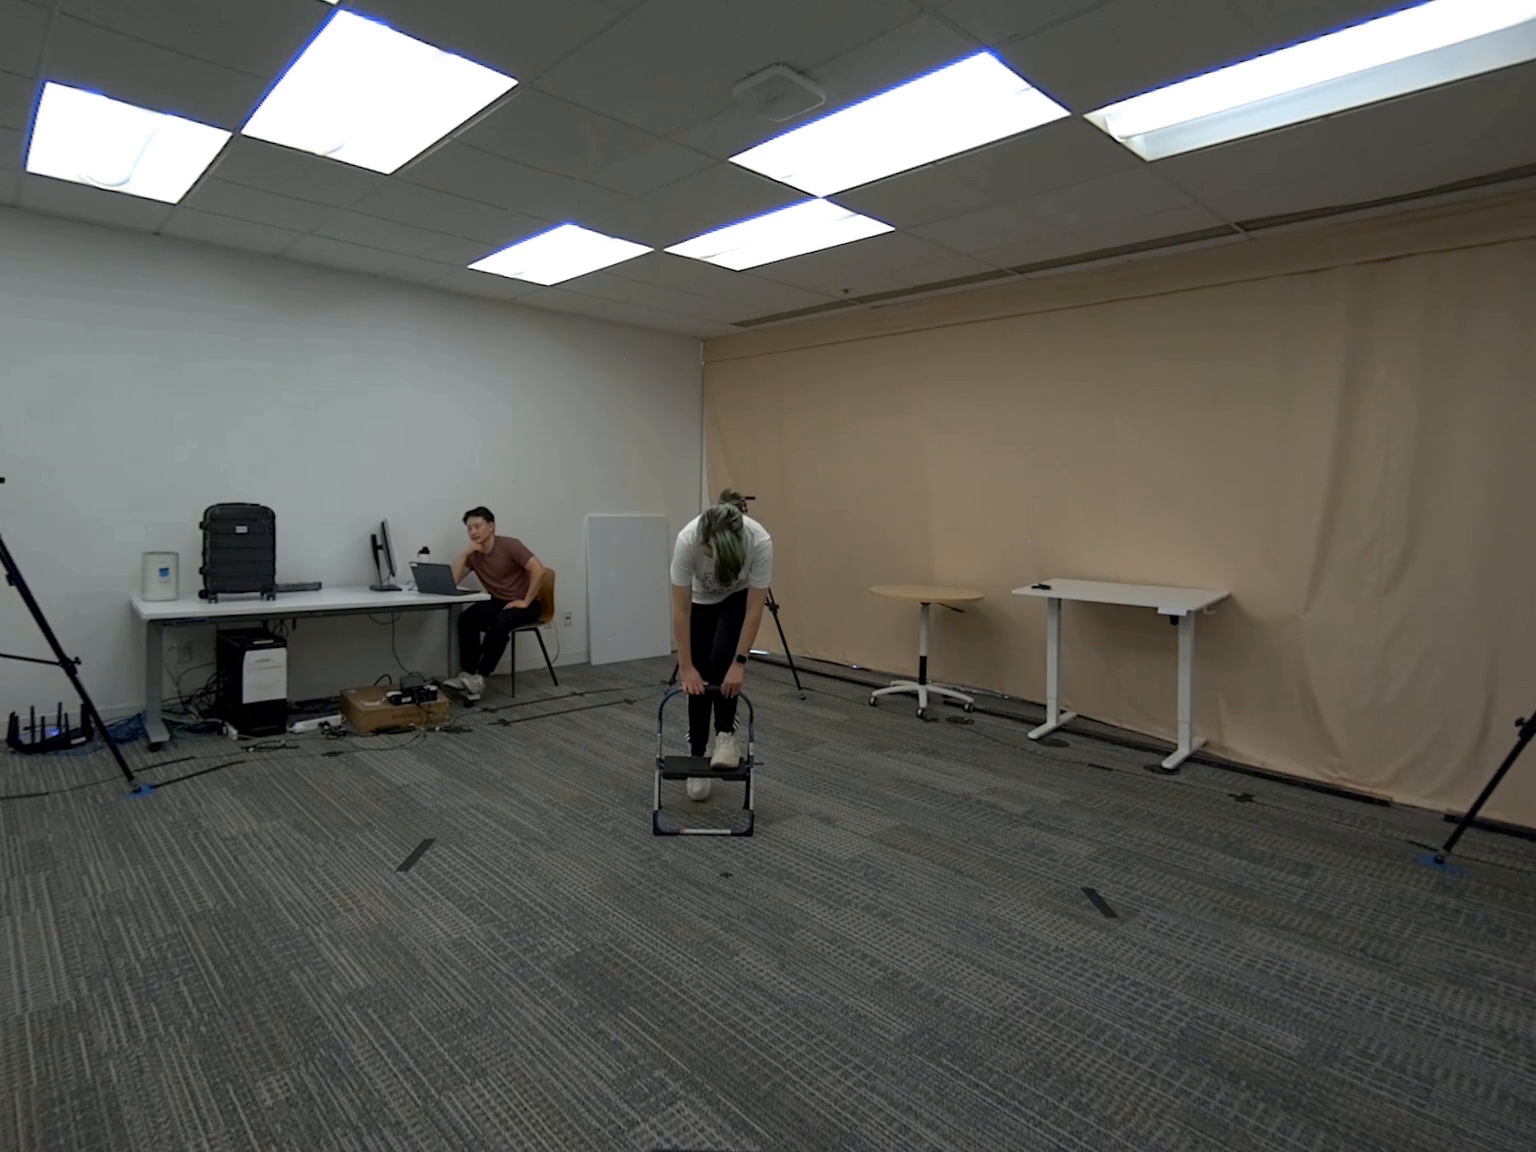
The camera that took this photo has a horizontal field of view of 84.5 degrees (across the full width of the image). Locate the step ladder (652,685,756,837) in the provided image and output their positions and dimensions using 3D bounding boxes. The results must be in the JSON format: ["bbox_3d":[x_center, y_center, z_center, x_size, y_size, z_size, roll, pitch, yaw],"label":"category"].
[{"bbox_3d":[-0.285,0.762,3.616,0.429,0.605,0.351,1,3,-5],"label":"step ladder"}]
